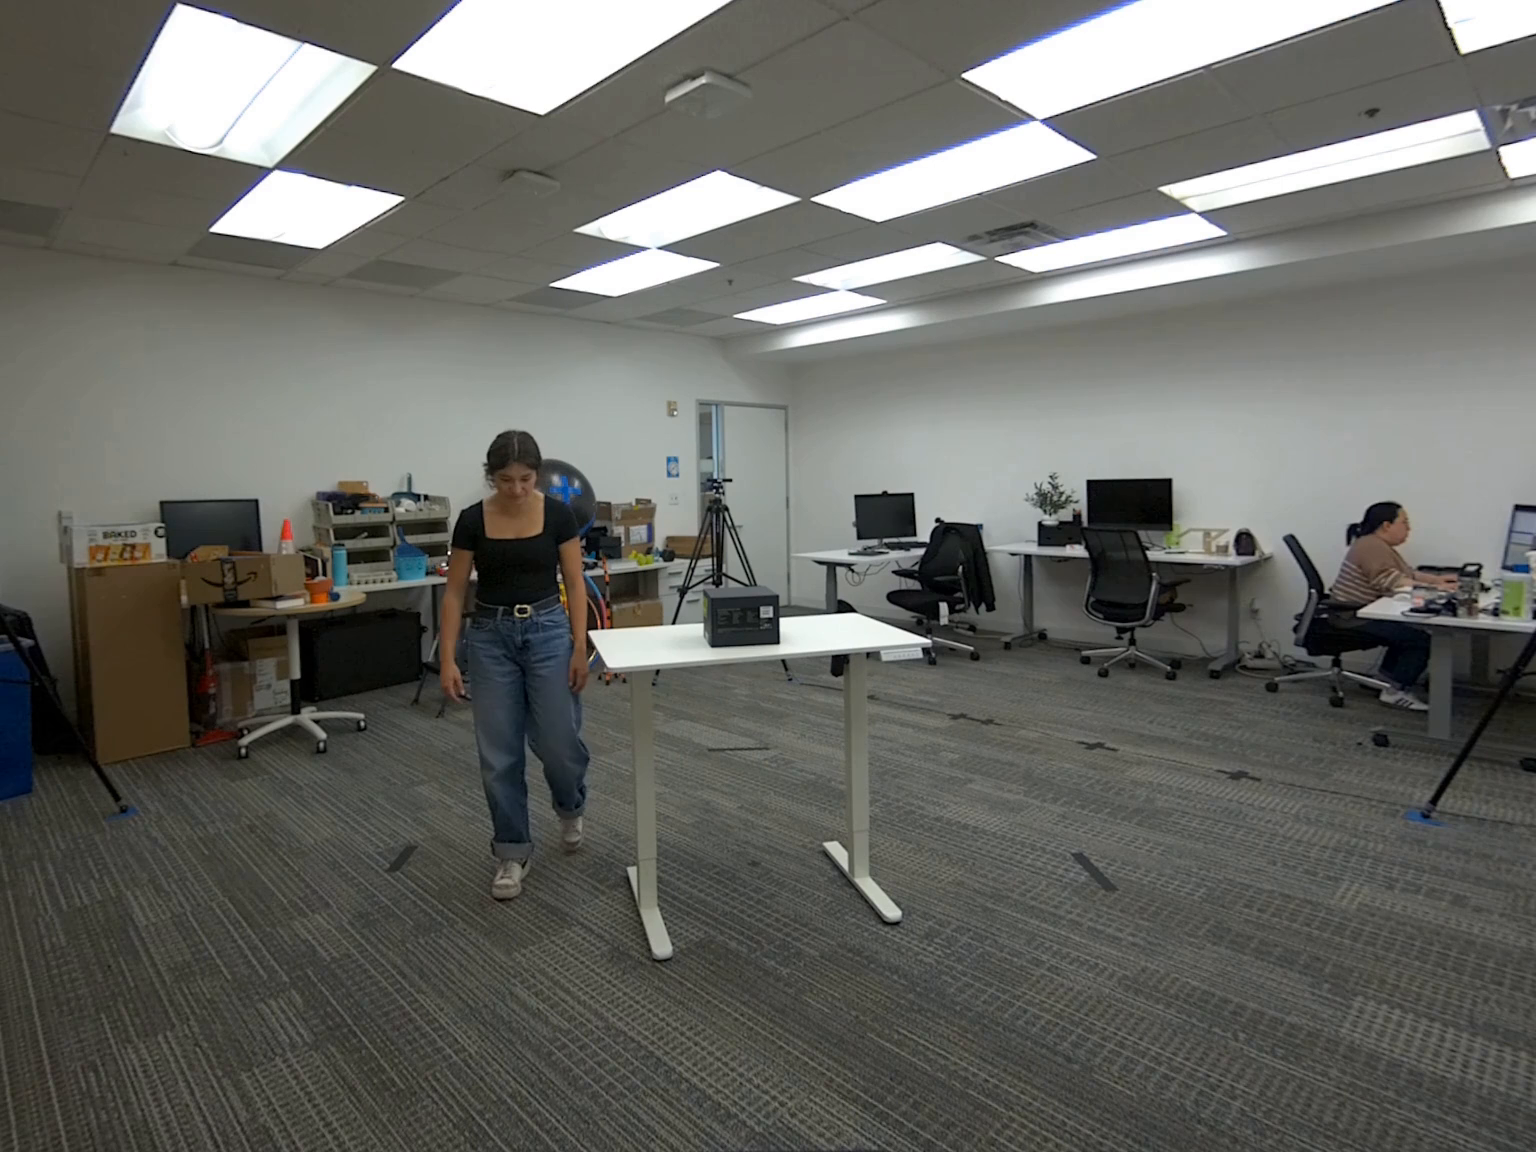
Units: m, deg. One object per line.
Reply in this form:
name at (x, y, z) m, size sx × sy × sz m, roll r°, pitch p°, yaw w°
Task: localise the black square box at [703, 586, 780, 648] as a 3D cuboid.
black square box at (-0.091, 0.120, 2.740) m, size 0.216 × 0.155 × 0.230 m, roll -1°, pitch 5°, yaw -6°
